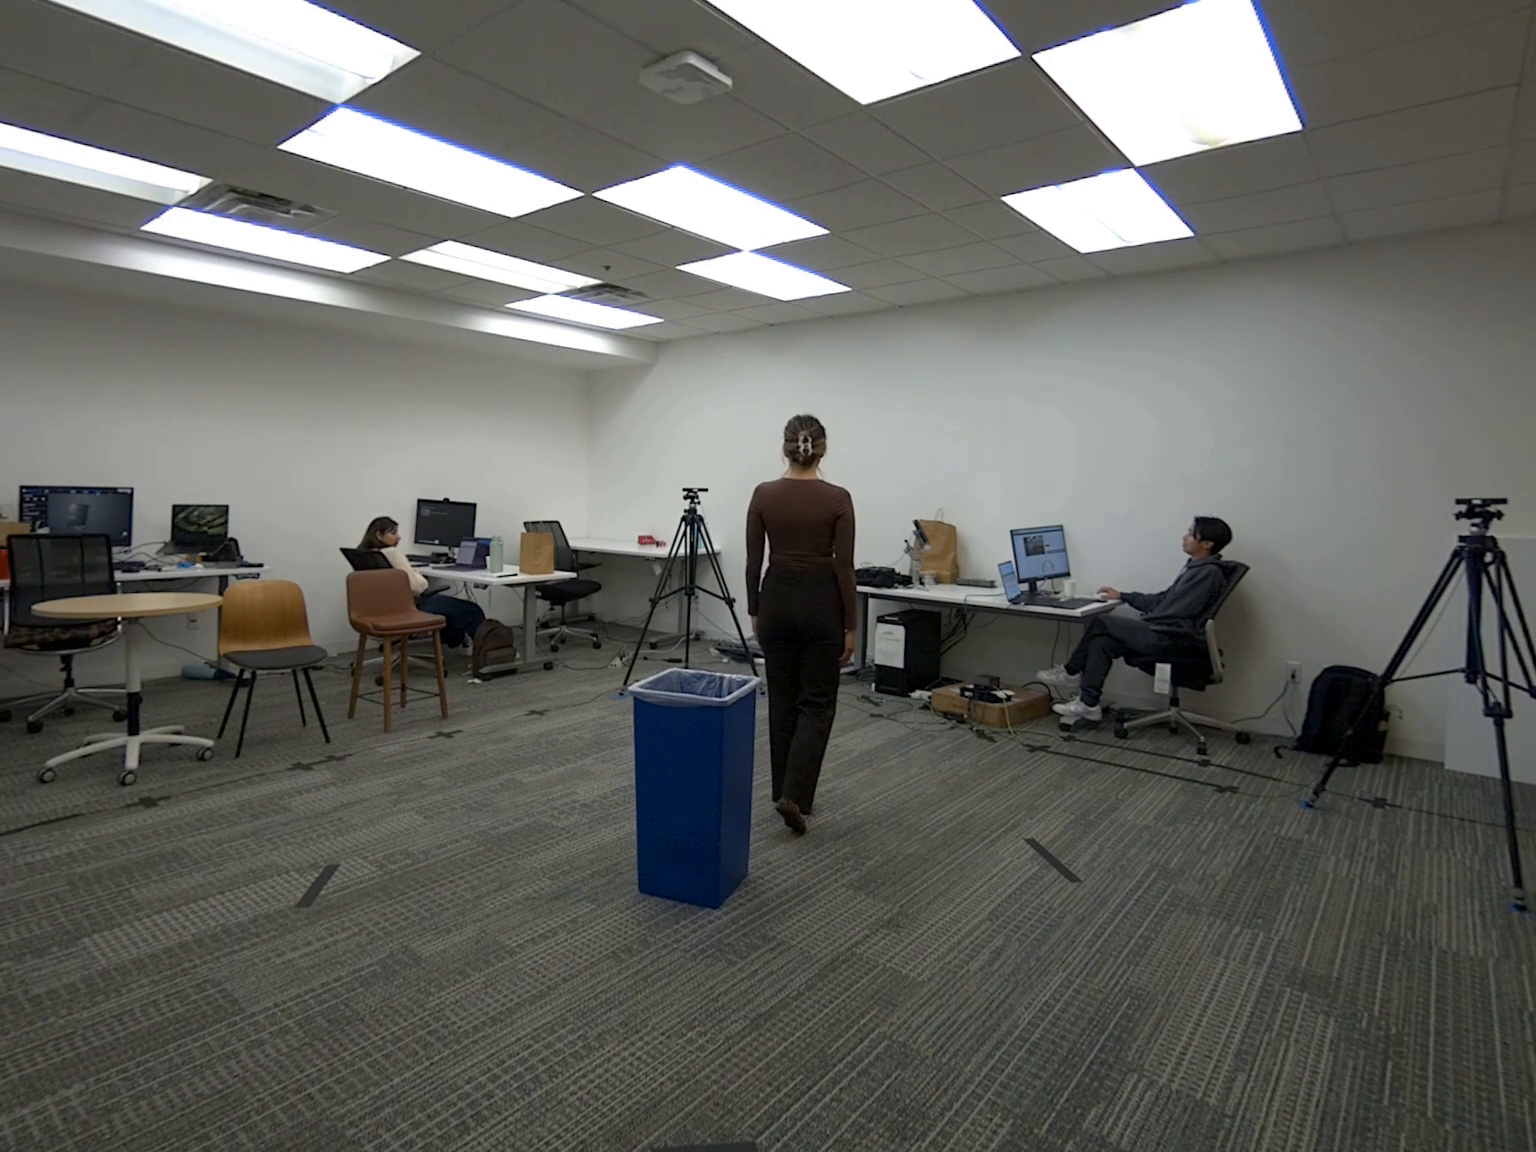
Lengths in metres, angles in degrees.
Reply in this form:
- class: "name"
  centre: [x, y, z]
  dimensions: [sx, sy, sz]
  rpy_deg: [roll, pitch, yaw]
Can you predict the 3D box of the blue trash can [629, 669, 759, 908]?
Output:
- class: "blue trash can"
  centre: [-0.259, 0.721, 2.986]
  dimensions: [0.382, 0.712, 0.371]
  rpy_deg: [1, 3, 20]
